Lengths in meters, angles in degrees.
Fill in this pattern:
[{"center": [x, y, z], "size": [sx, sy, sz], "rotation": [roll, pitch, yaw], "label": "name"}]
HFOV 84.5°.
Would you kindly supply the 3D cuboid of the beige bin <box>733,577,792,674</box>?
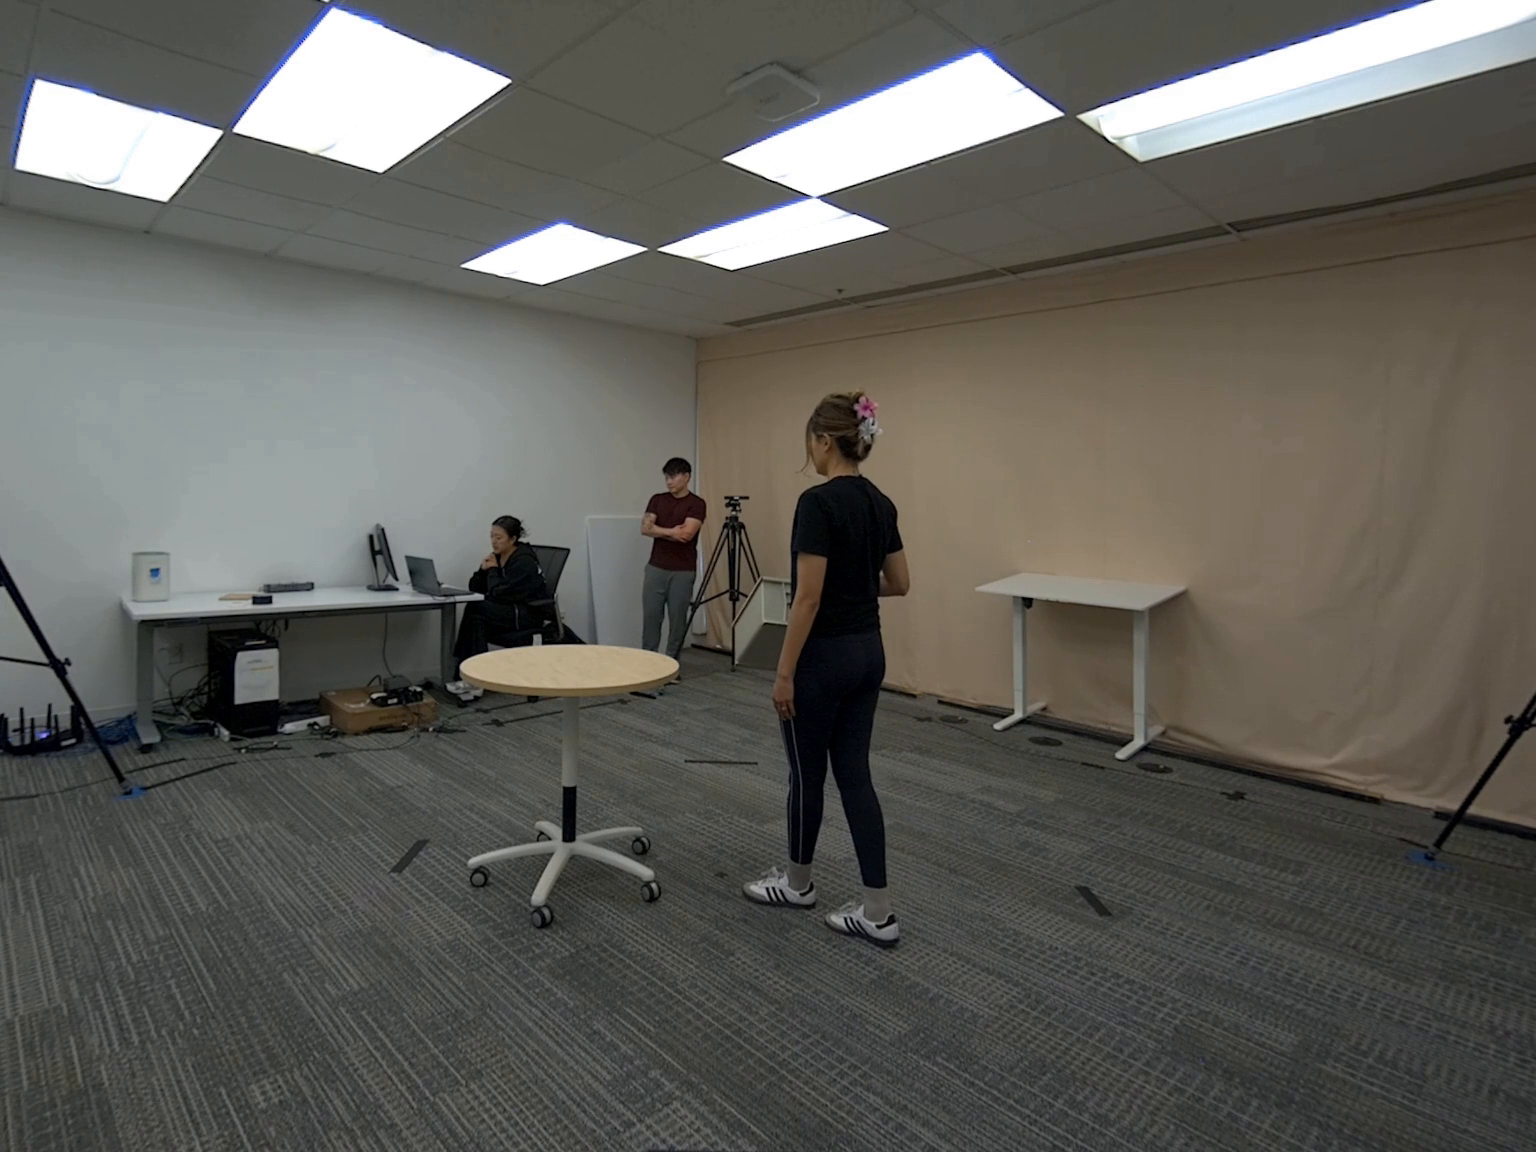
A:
[{"center": [0.087, 0.201, 3.161], "size": [0.373, 0.192, 0.419], "rotation": [7, -30, -13], "label": "beige bin"}]
